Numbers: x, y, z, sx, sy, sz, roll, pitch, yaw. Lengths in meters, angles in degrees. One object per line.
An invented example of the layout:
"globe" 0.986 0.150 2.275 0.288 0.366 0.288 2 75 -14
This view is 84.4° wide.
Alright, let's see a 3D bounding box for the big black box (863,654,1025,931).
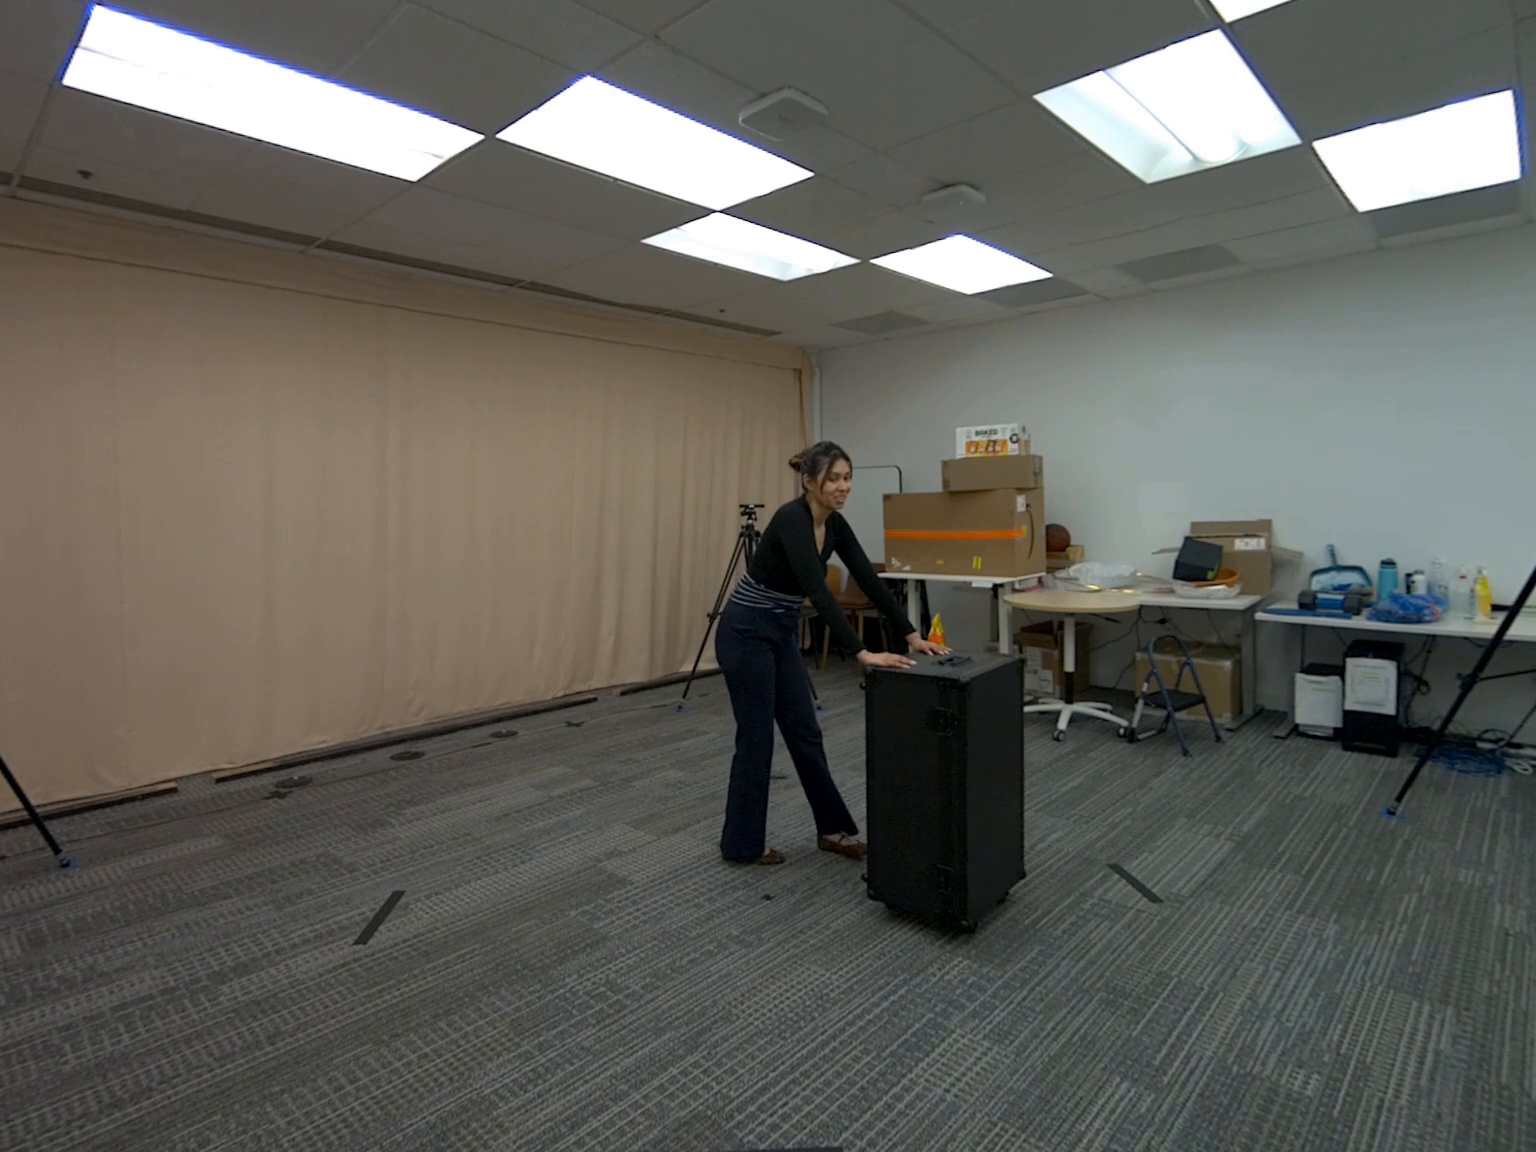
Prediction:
"big black box" 0.607 0.710 2.865 0.409 0.860 0.506 0 4 38
